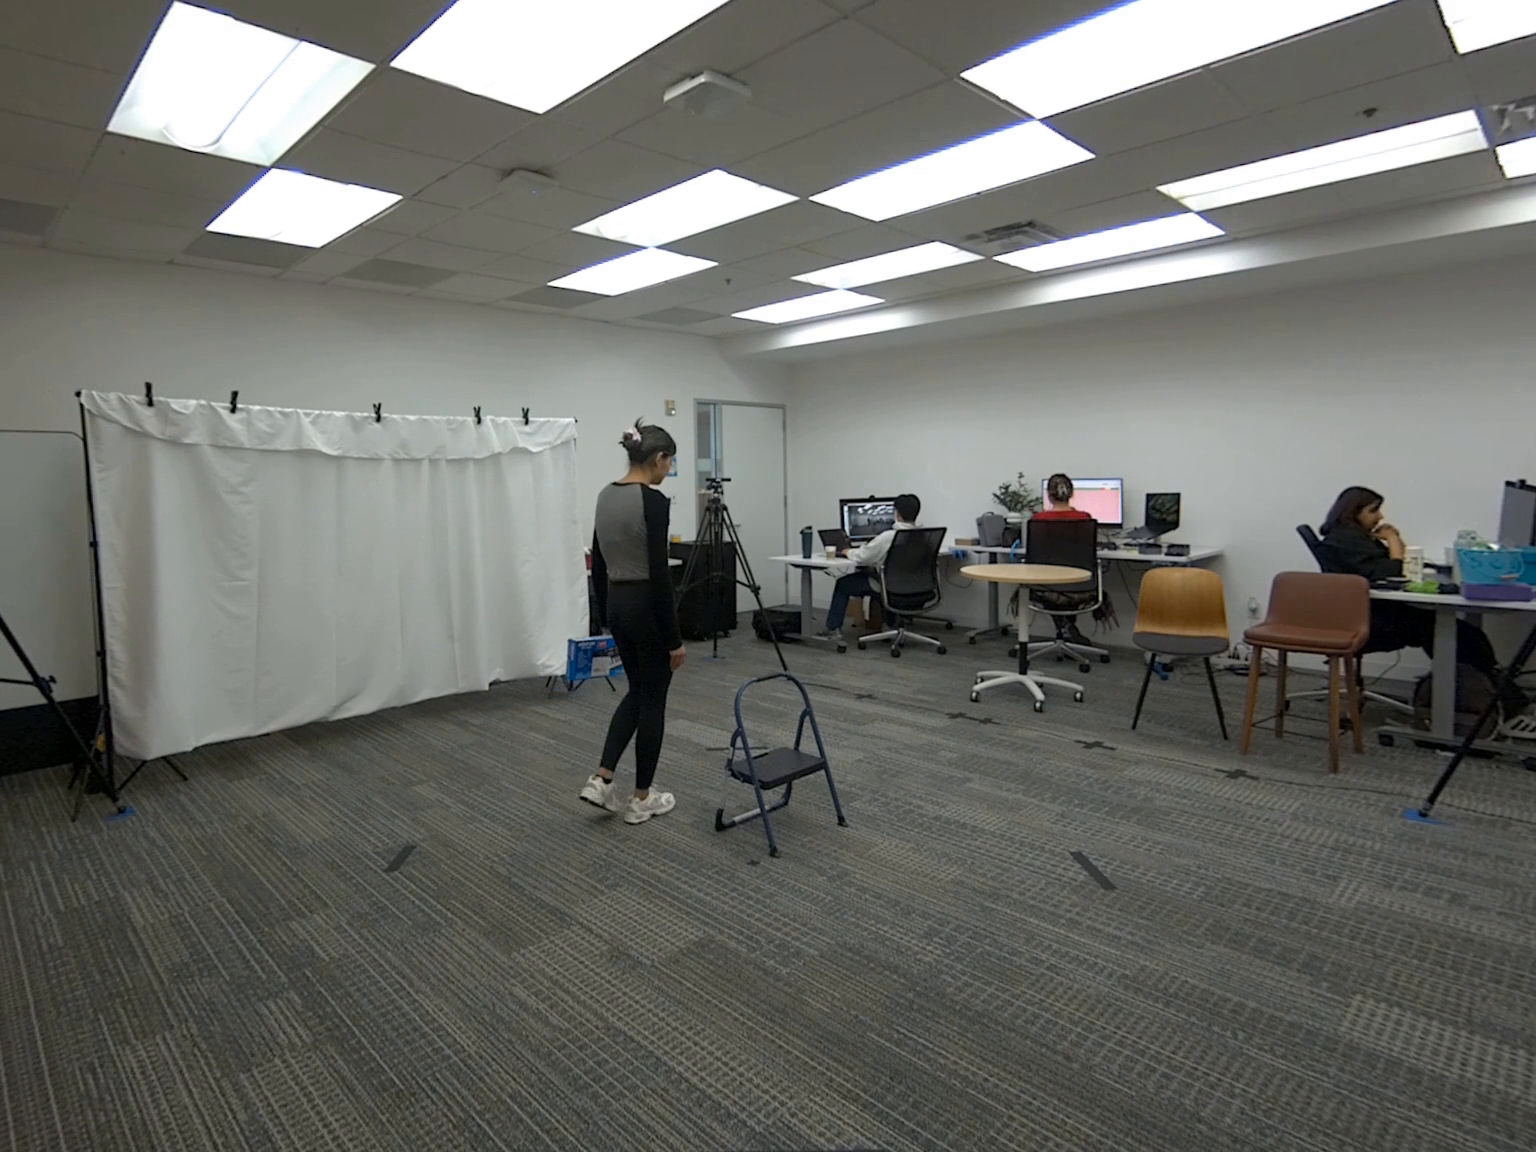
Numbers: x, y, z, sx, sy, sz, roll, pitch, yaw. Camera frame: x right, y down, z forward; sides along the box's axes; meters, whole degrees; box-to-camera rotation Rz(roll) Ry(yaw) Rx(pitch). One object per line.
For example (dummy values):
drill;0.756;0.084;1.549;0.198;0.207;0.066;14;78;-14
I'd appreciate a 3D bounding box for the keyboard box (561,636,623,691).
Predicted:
keyboard box;-0.698;0.356;3.801;0.061;0.175;0.424;6;4;40
